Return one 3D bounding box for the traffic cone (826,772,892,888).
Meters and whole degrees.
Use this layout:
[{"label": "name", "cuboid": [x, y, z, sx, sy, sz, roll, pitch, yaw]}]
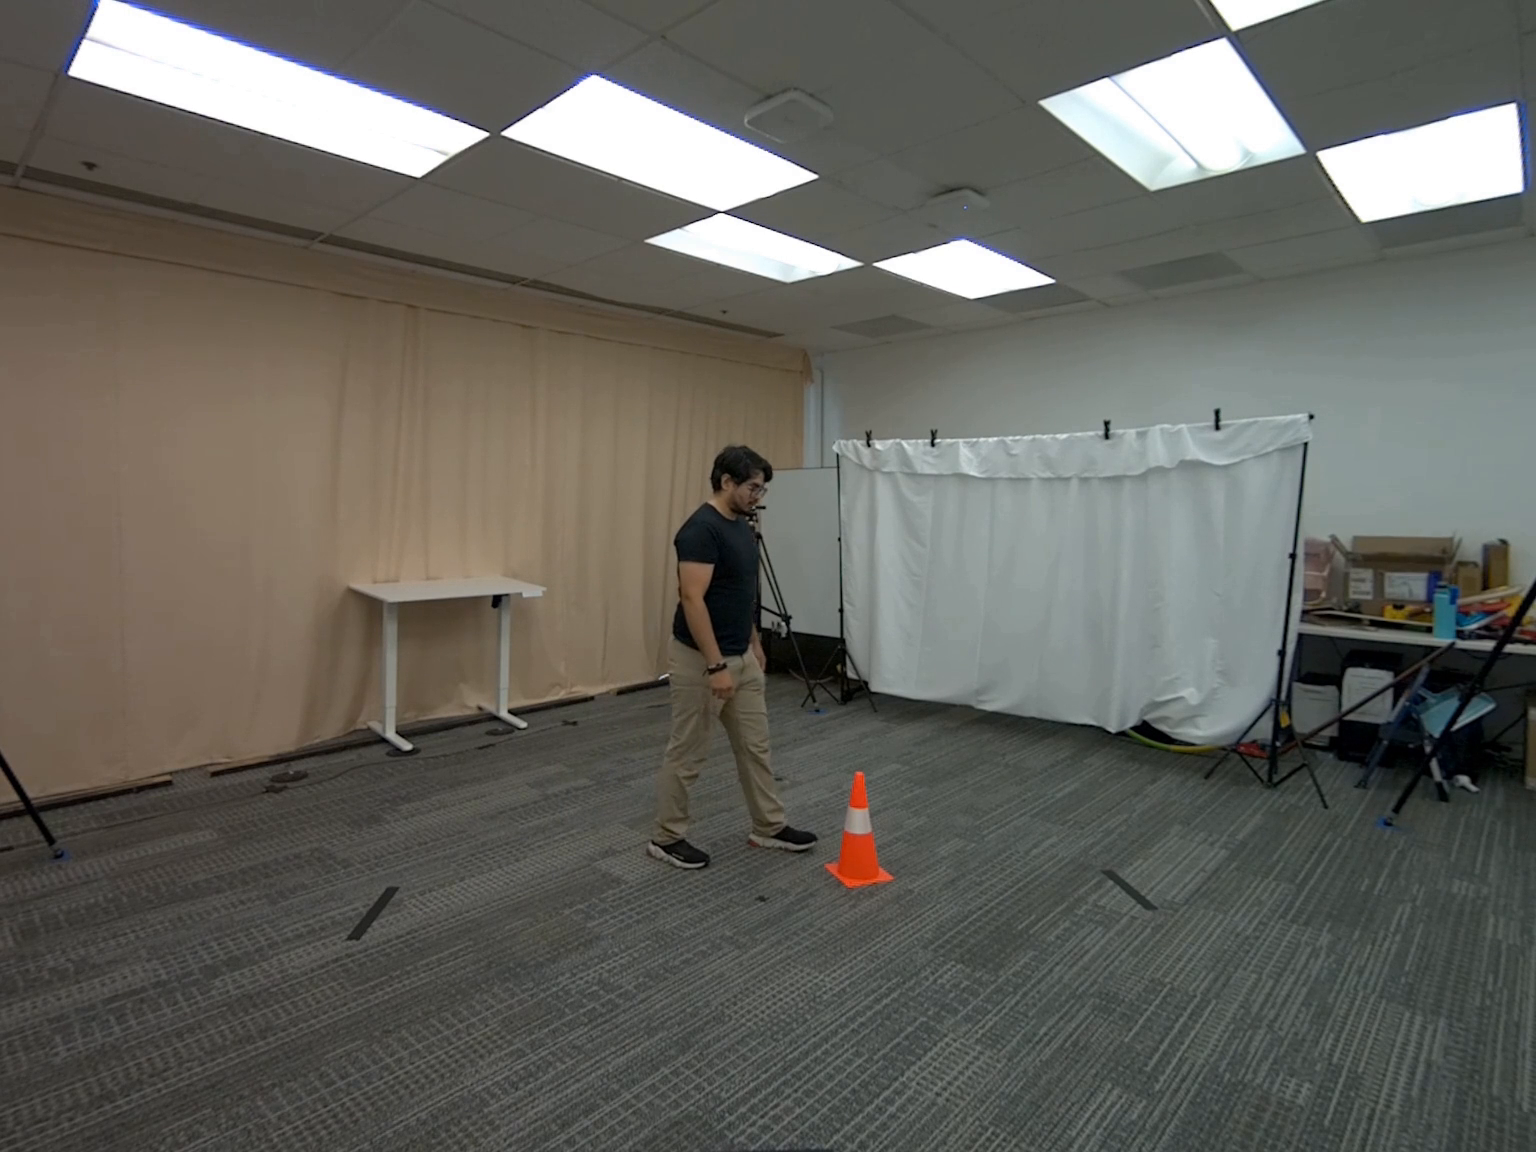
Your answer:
[{"label": "traffic cone", "cuboid": [0.346, 0.940, 3.190, 0.199, 0.383, 0.210, -1, 1, -23]}]
